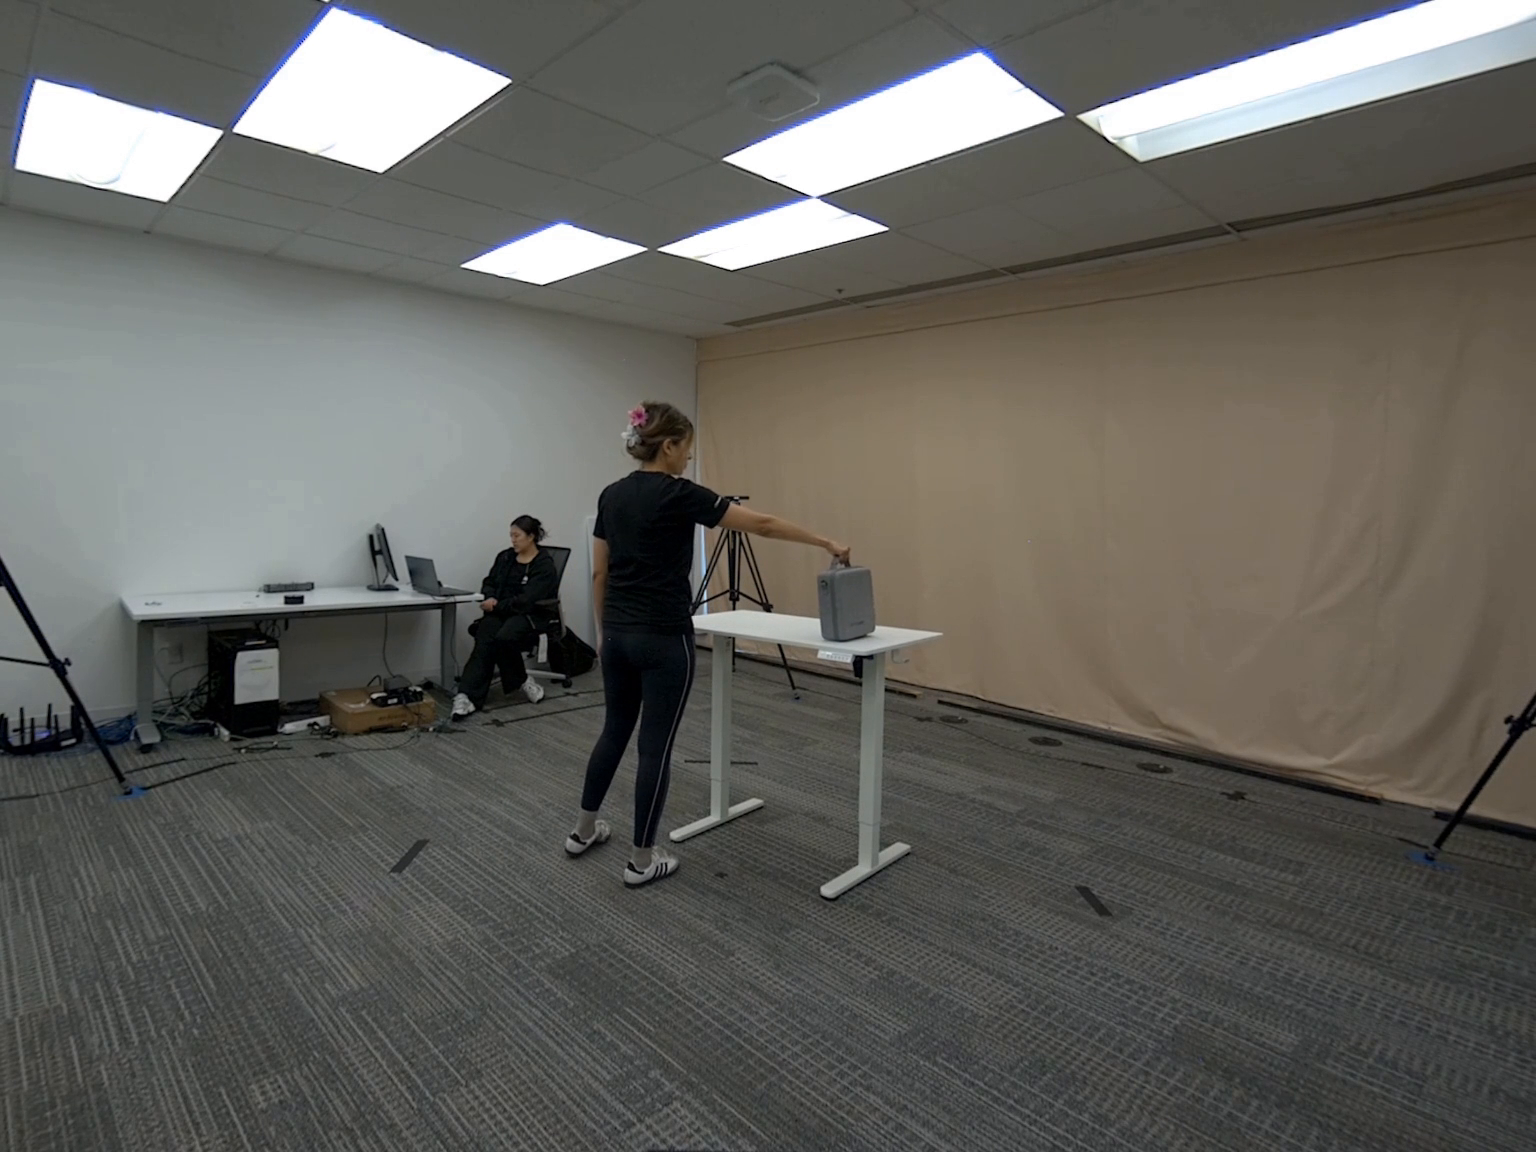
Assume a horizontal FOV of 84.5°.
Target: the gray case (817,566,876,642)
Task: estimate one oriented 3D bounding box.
[{"bbox_3d":[0.283,0.097,3.087,0.106,0.261,0.251,-5,0,37],"label":"gray case"}]
